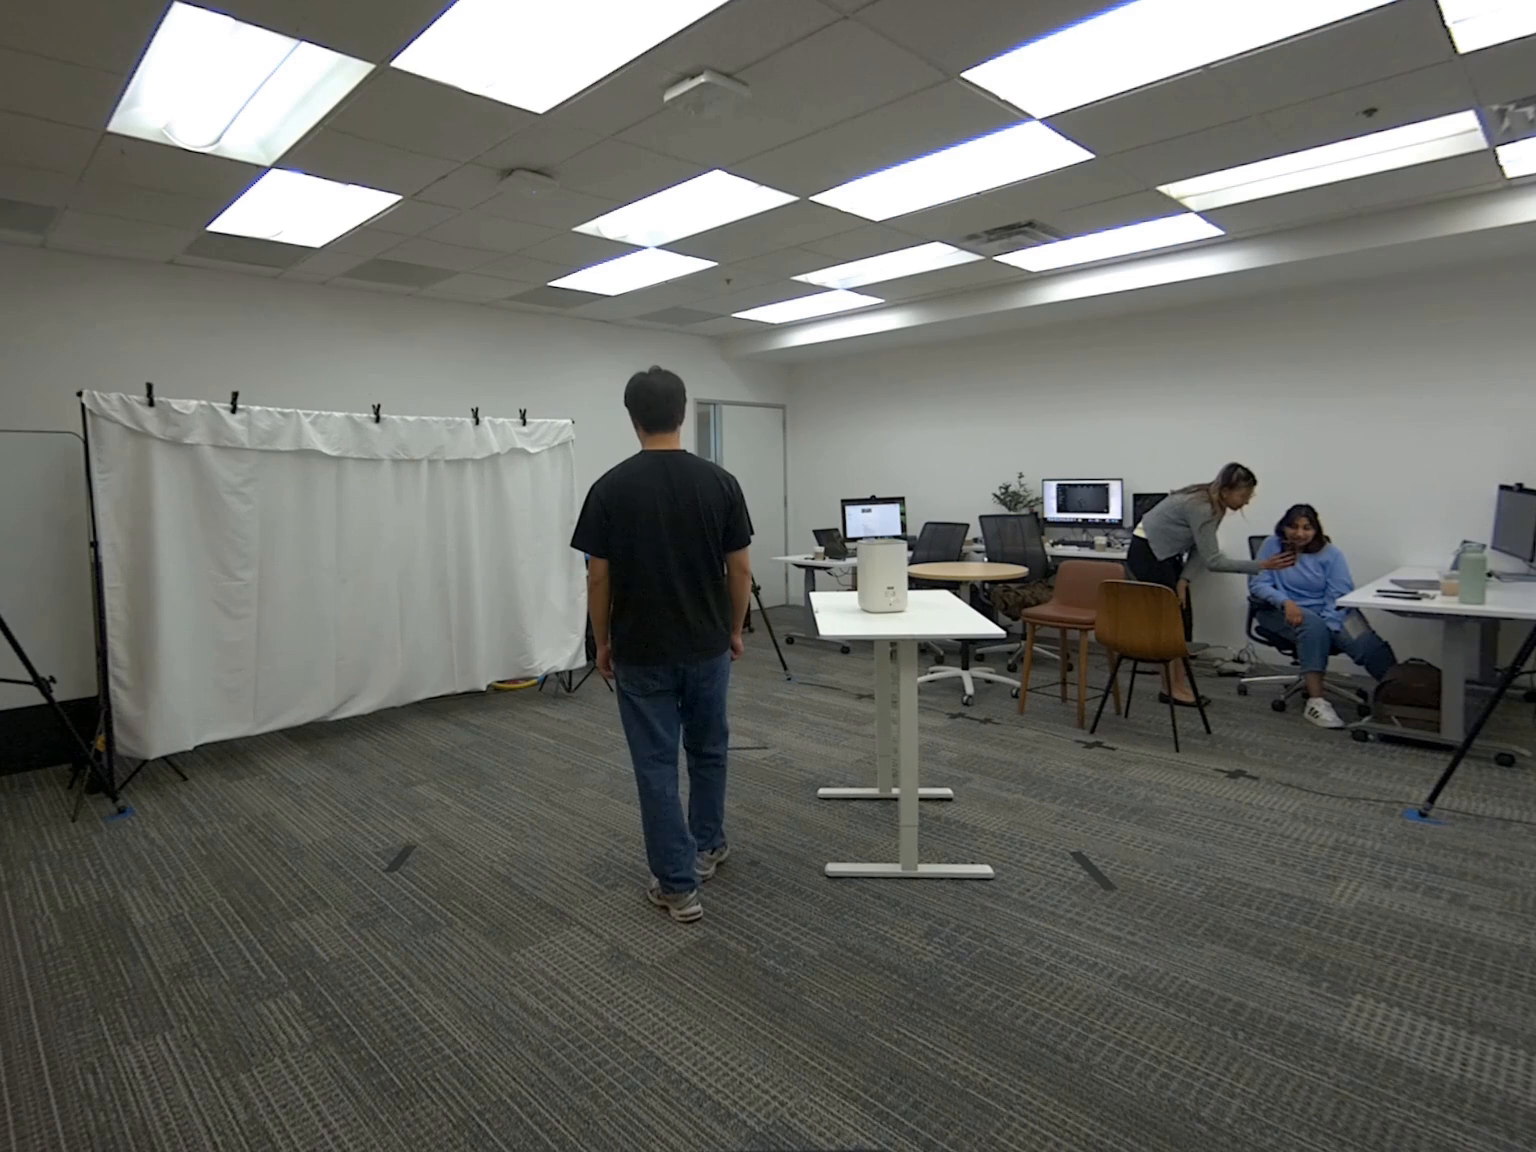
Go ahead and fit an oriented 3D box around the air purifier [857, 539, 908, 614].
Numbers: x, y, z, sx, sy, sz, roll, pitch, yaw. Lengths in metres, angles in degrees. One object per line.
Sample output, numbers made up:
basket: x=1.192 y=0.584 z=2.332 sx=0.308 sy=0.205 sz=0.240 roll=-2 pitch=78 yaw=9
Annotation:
air purifier: x=0.447 y=0.001 z=3.265 sx=0.170 sy=0.264 sz=0.174 roll=0 pitch=6 yaw=-7
